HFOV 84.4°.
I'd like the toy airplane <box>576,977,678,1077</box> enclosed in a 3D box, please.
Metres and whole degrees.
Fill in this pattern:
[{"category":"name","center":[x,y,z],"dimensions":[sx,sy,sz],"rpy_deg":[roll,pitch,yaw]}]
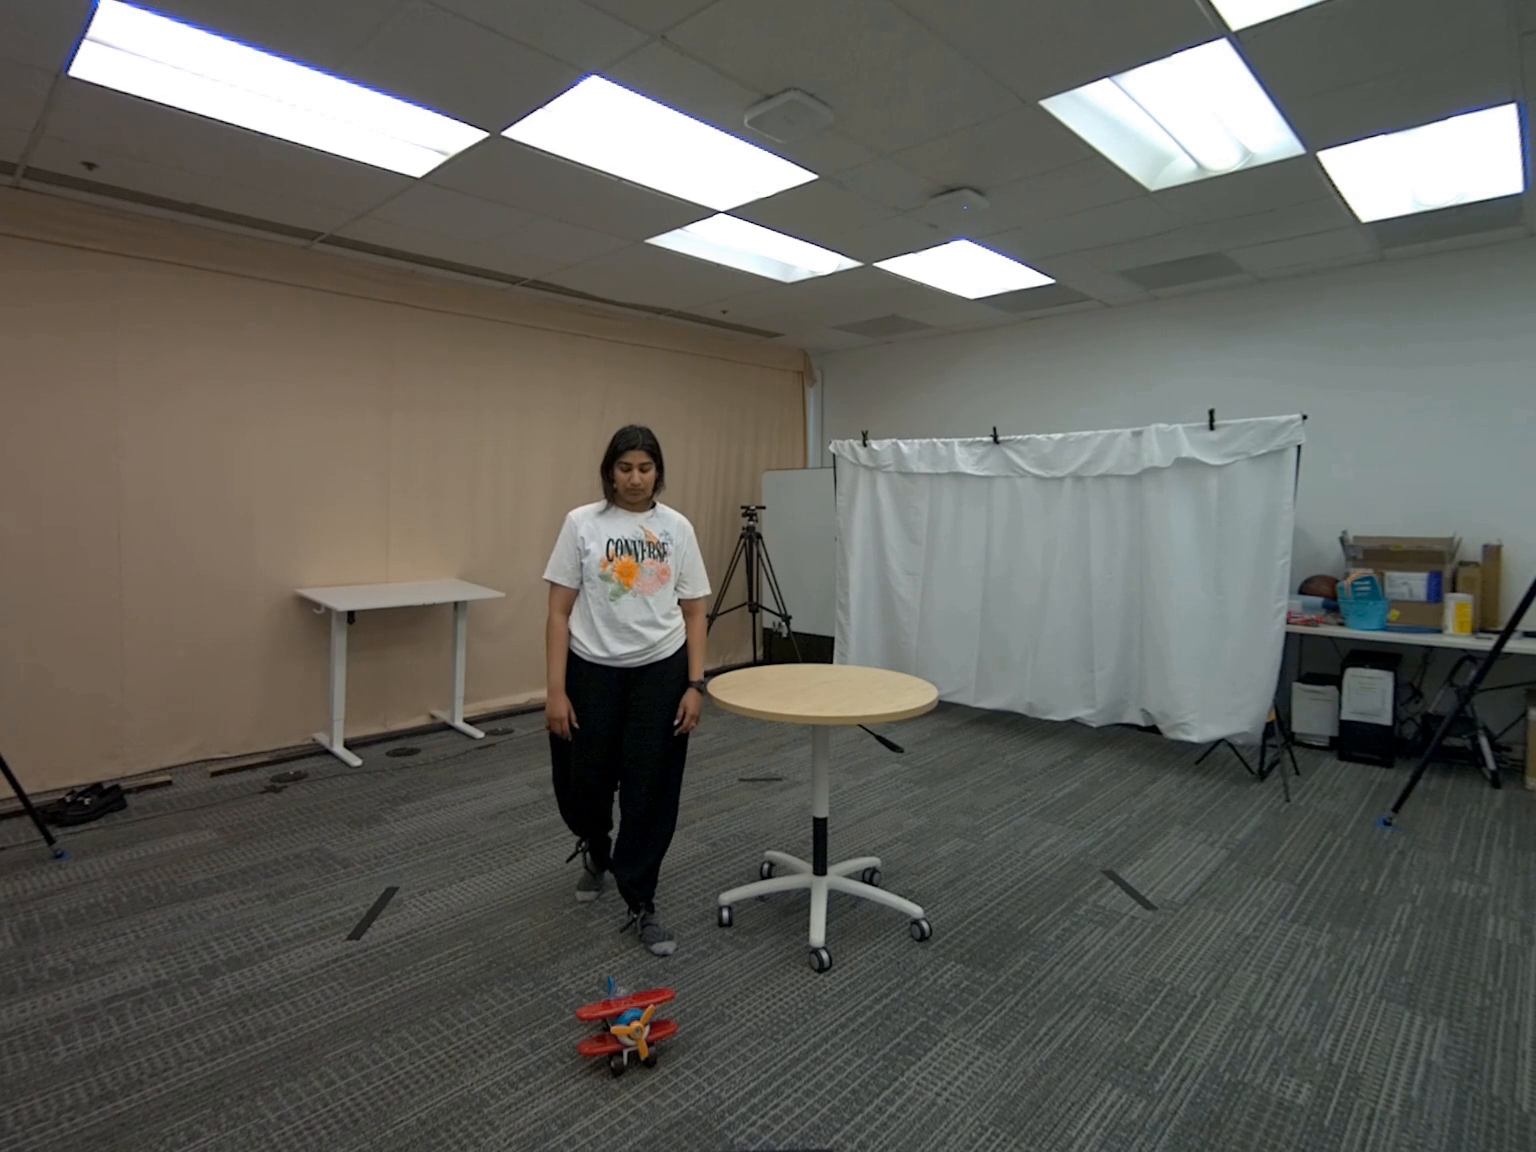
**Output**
[{"category":"toy airplane","center":[-0.385,1.145,2.140],"dimensions":[0.268,0.156,0.244],"rpy_deg":[5,7,38]}]
